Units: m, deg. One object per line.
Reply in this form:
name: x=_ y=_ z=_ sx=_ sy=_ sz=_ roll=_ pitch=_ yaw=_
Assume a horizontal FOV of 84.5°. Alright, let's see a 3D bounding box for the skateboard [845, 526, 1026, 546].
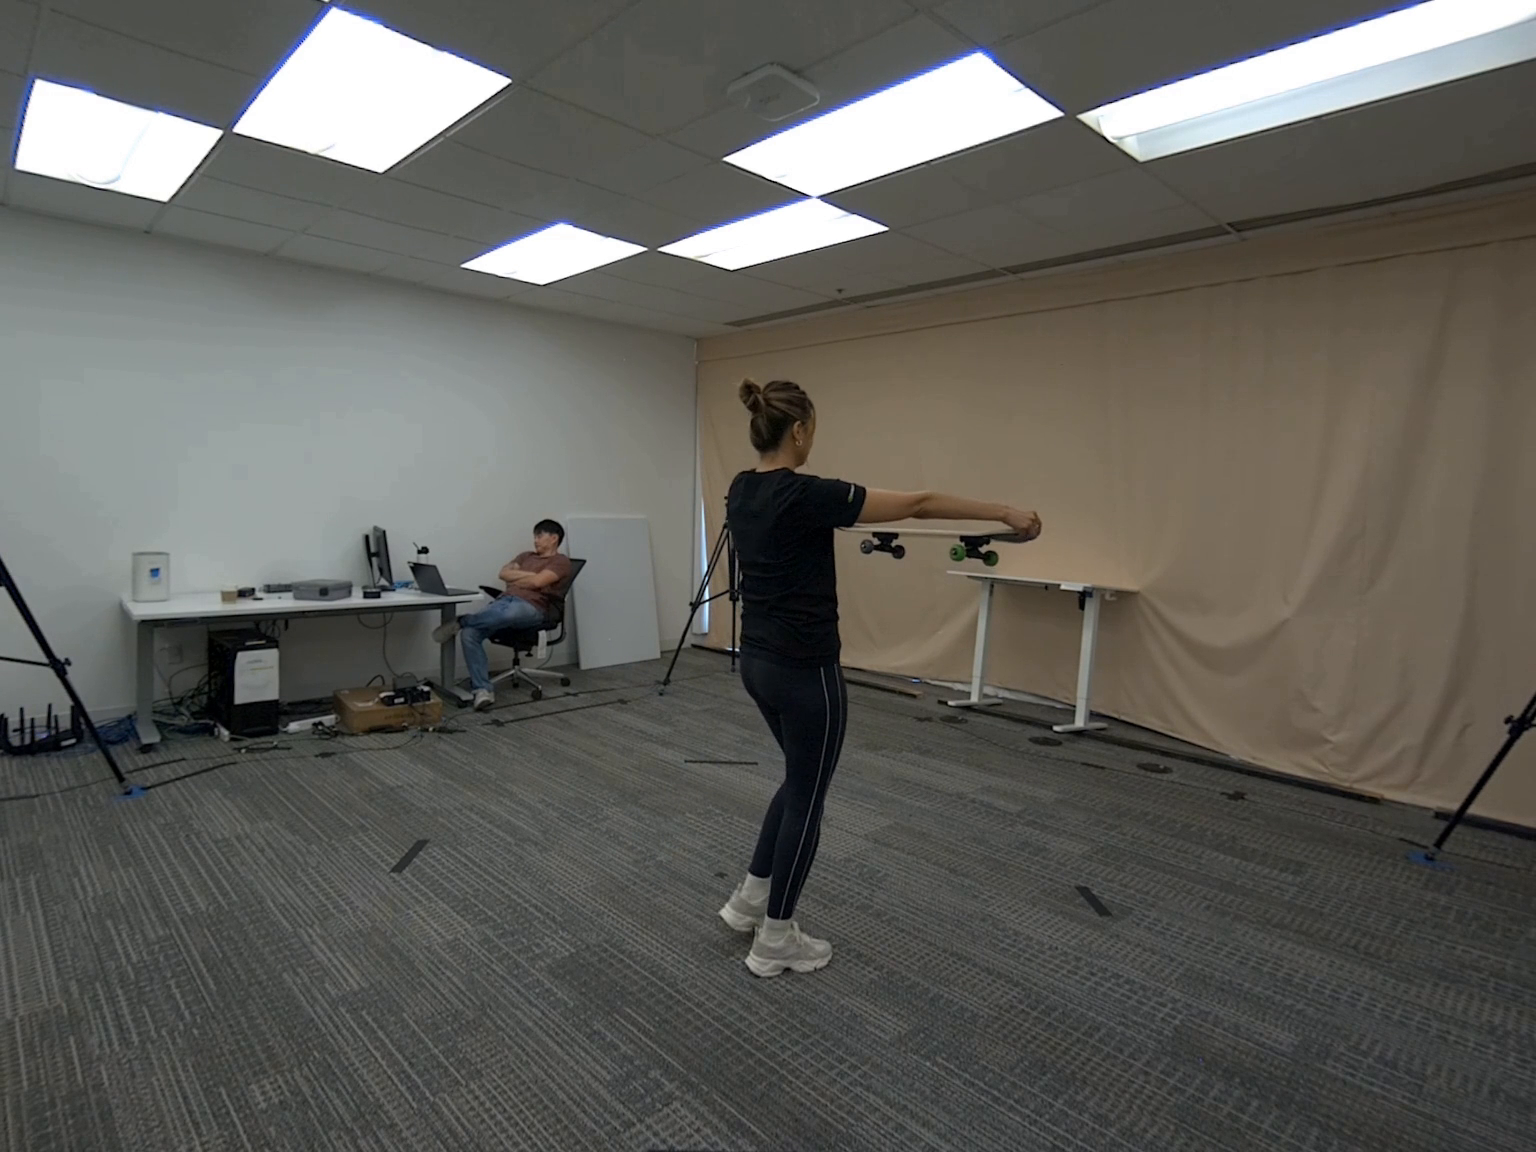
skateboard: x=0.520 y=-0.105 z=2.748 sx=0.188 sy=0.110 sz=0.804 roll=8 pitch=-1 yaw=-36
